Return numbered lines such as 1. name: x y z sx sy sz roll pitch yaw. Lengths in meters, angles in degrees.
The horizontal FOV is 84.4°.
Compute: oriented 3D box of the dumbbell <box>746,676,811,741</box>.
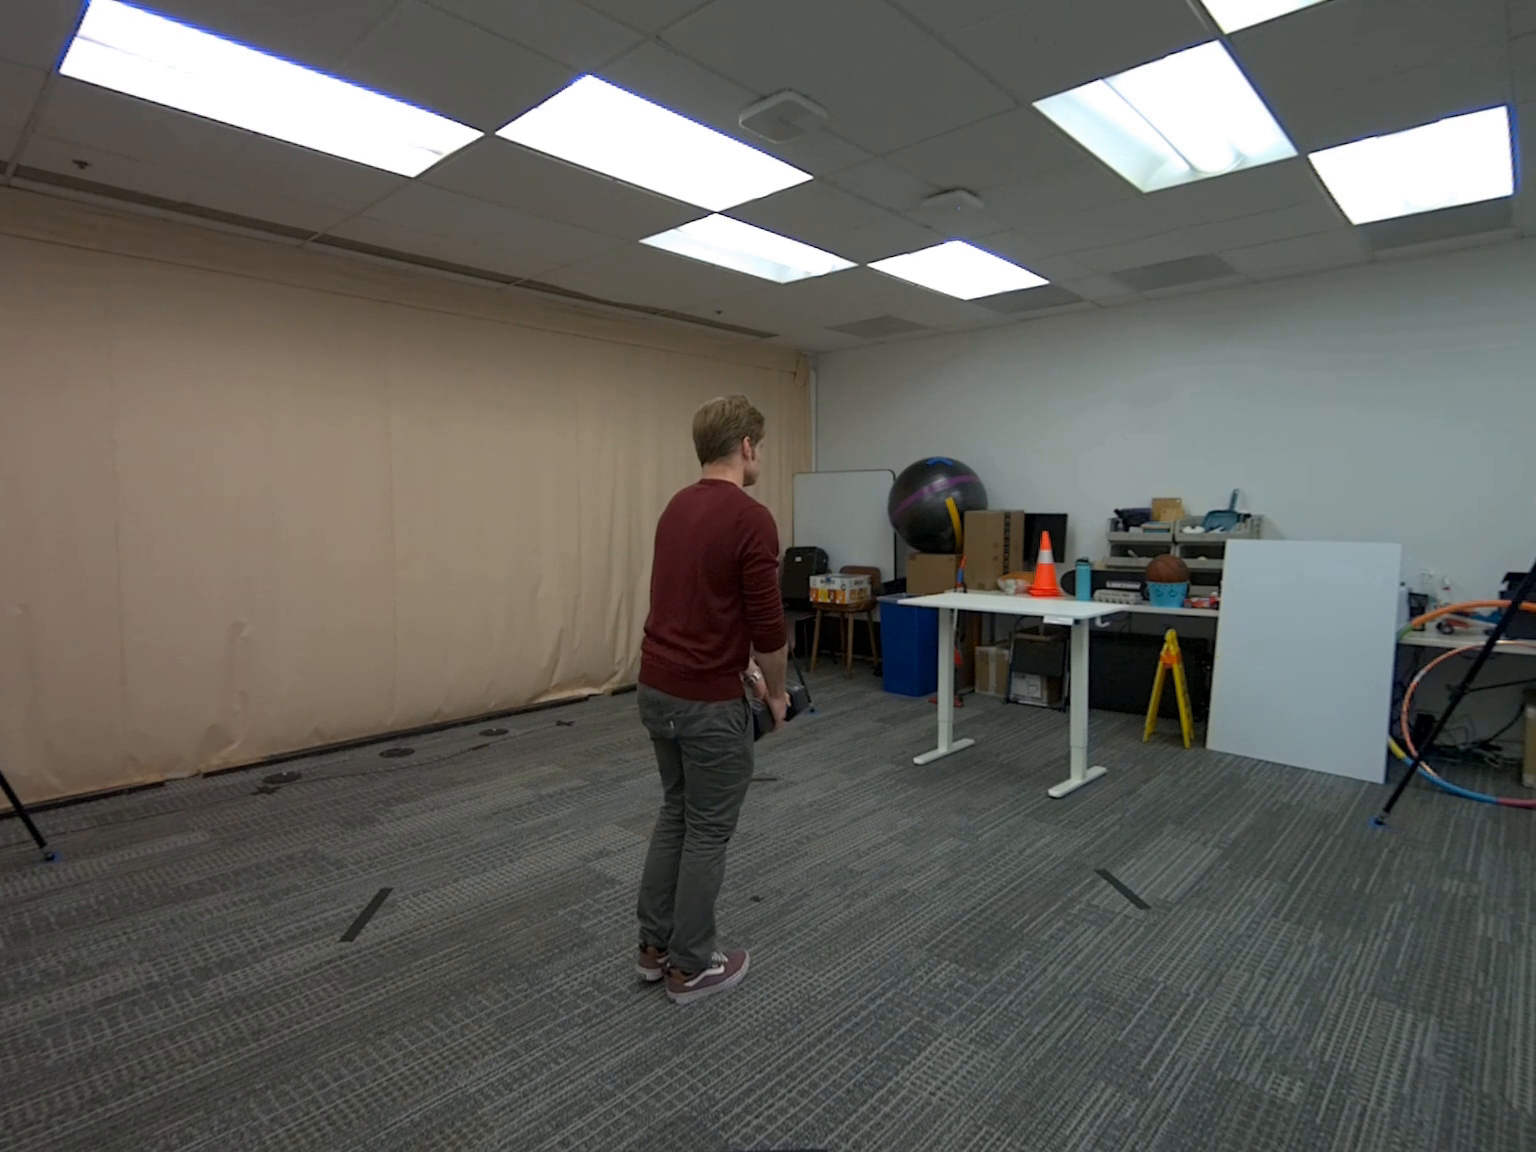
1. dumbbell: 0.019 0.405 2.534 0.124 0.110 0.287 -46 -15 29
